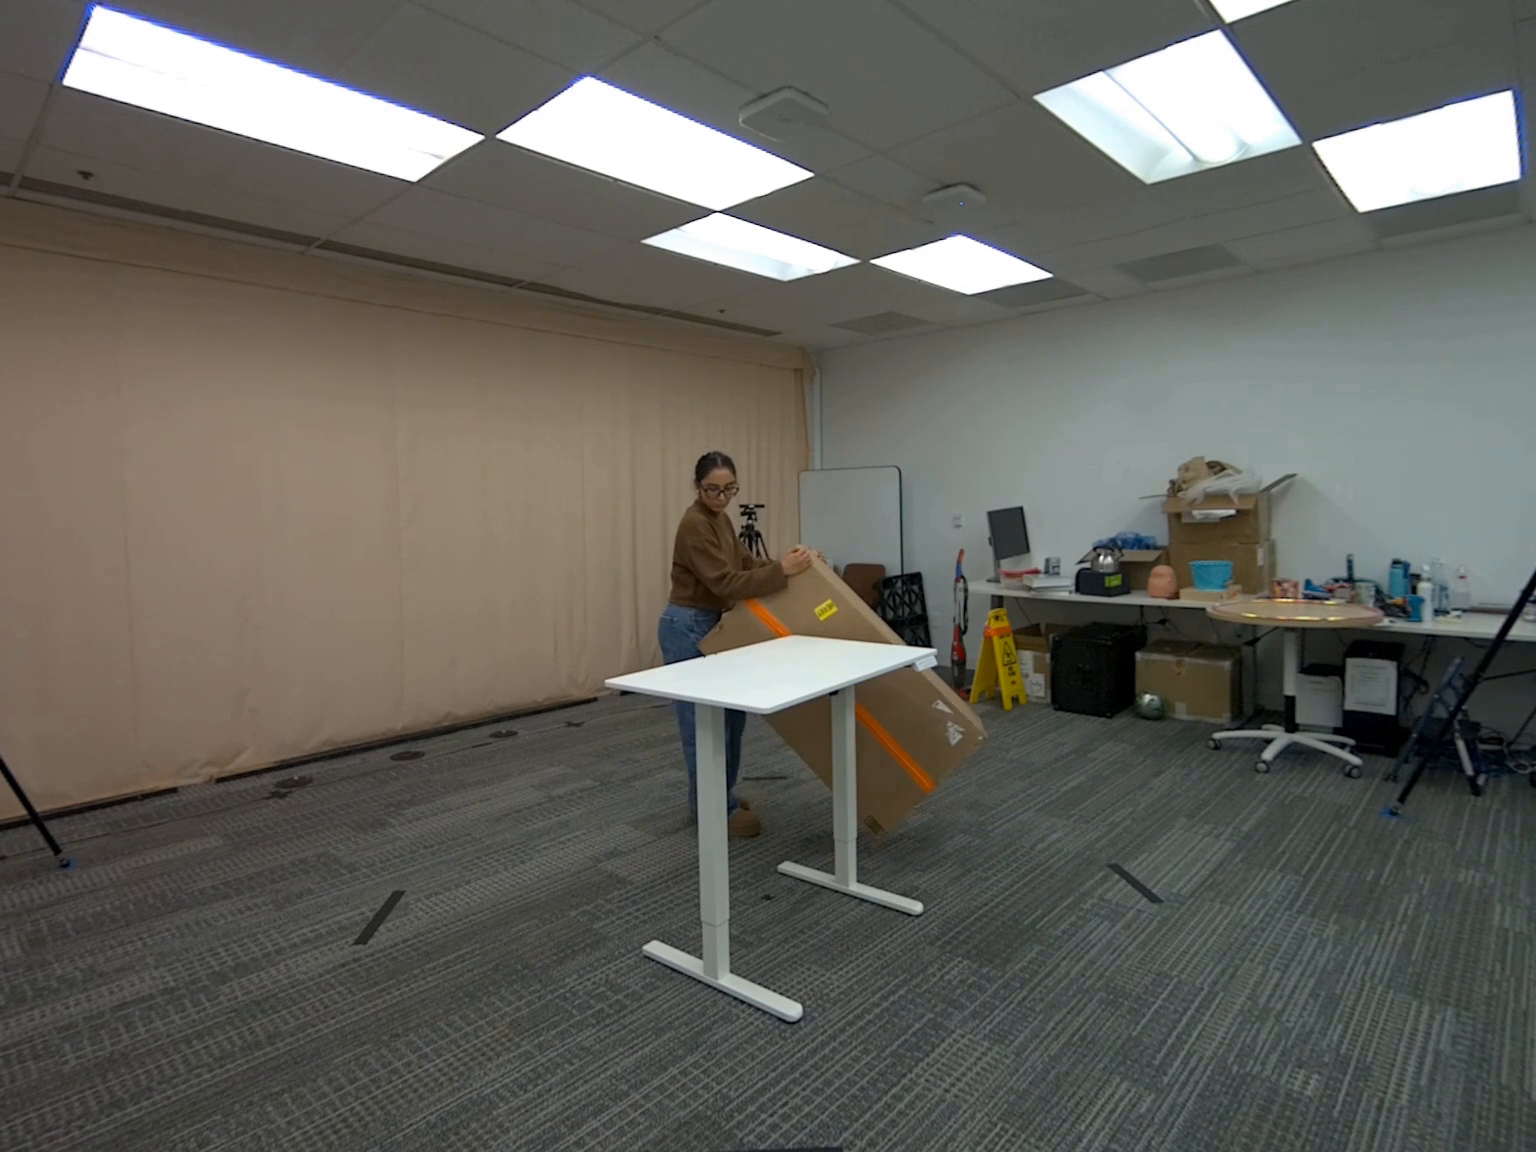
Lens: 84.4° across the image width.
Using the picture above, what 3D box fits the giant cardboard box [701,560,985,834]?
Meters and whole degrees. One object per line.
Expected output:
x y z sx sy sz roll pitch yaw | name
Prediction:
0.302 0.447 3.459 0.579 1.039 0.420 -46 -10 8 | giant cardboard box
